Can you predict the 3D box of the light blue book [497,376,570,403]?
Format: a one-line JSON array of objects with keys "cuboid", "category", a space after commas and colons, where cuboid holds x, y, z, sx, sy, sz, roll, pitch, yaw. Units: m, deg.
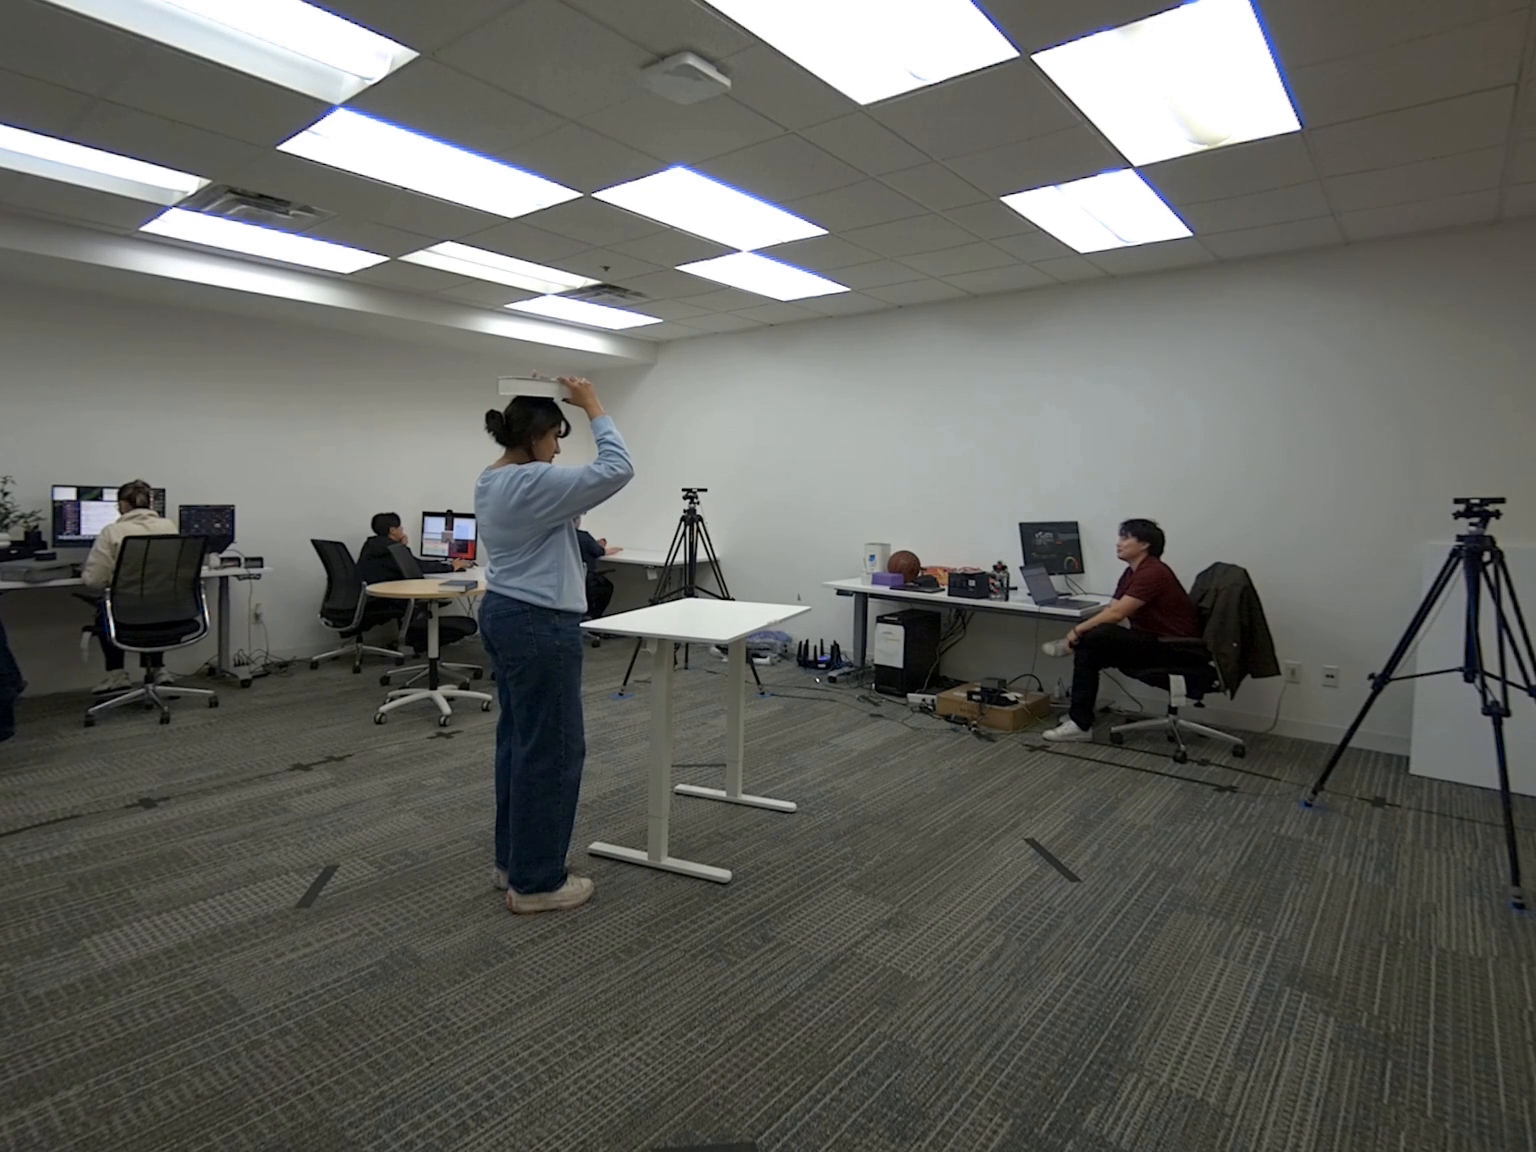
[{"cuboid": [-0.779, -0.640, 2.880, 0.253, 0.058, 0.198, -3, 12, -39], "category": "light blue book"}]
